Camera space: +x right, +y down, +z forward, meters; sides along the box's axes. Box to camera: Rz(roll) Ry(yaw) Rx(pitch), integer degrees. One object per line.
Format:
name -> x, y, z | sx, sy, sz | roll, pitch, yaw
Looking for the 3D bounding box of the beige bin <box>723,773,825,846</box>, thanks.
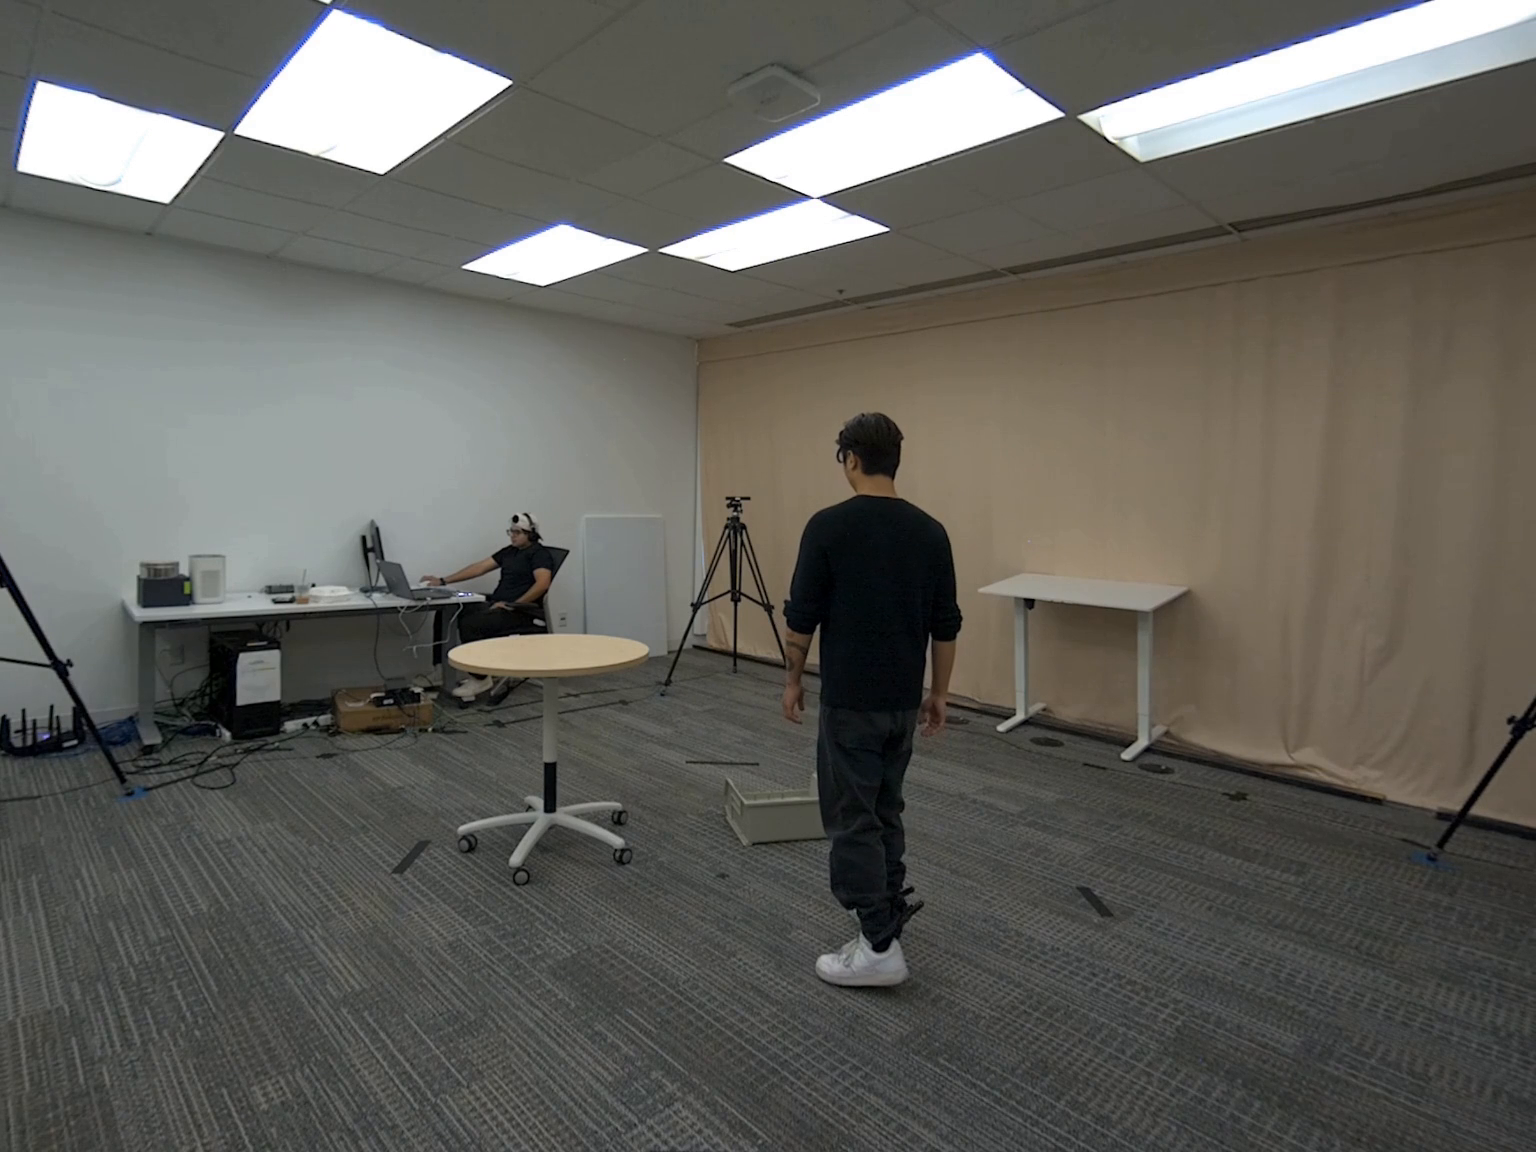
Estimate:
beige bin -> 0.042, 0.985, 3.603 | 0.417, 0.188, 0.383 | 1, 6, -15
